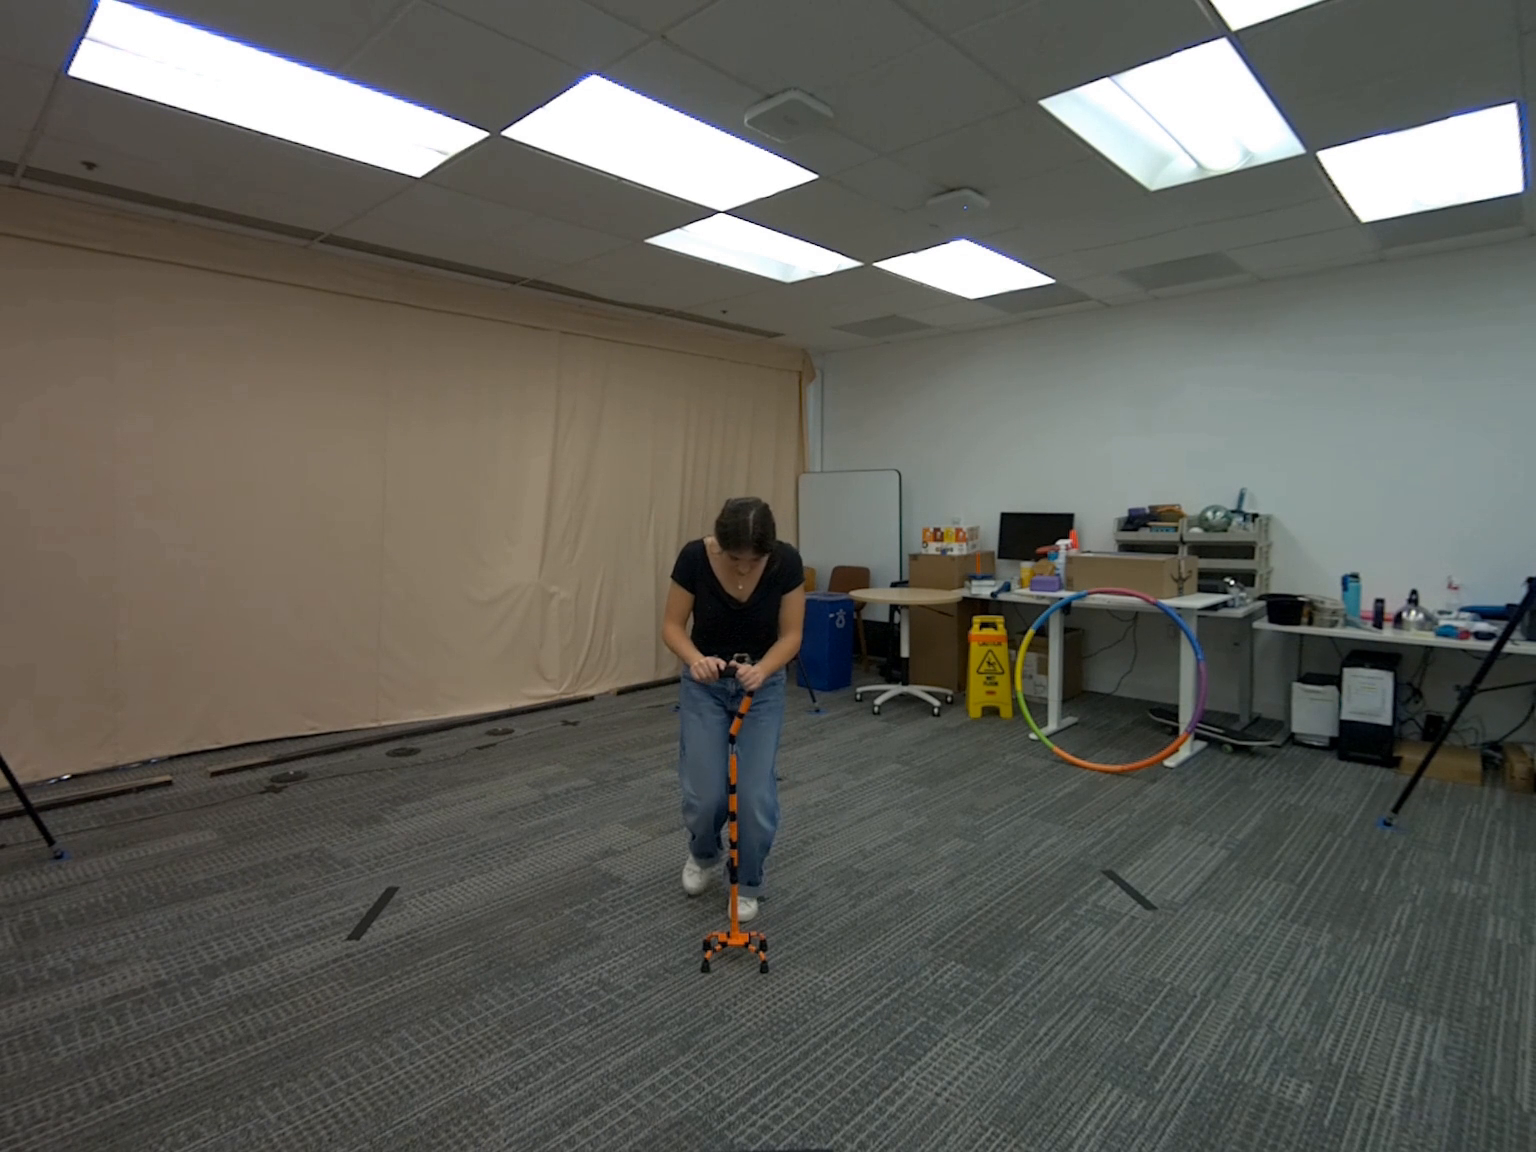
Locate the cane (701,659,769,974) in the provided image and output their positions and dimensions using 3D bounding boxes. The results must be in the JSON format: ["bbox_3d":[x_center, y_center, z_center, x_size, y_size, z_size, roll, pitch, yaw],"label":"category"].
[{"bbox_3d":[-0.099,0.718,2.547,0.207,0.905,0.152,0,4,0],"label":"cane"}]
